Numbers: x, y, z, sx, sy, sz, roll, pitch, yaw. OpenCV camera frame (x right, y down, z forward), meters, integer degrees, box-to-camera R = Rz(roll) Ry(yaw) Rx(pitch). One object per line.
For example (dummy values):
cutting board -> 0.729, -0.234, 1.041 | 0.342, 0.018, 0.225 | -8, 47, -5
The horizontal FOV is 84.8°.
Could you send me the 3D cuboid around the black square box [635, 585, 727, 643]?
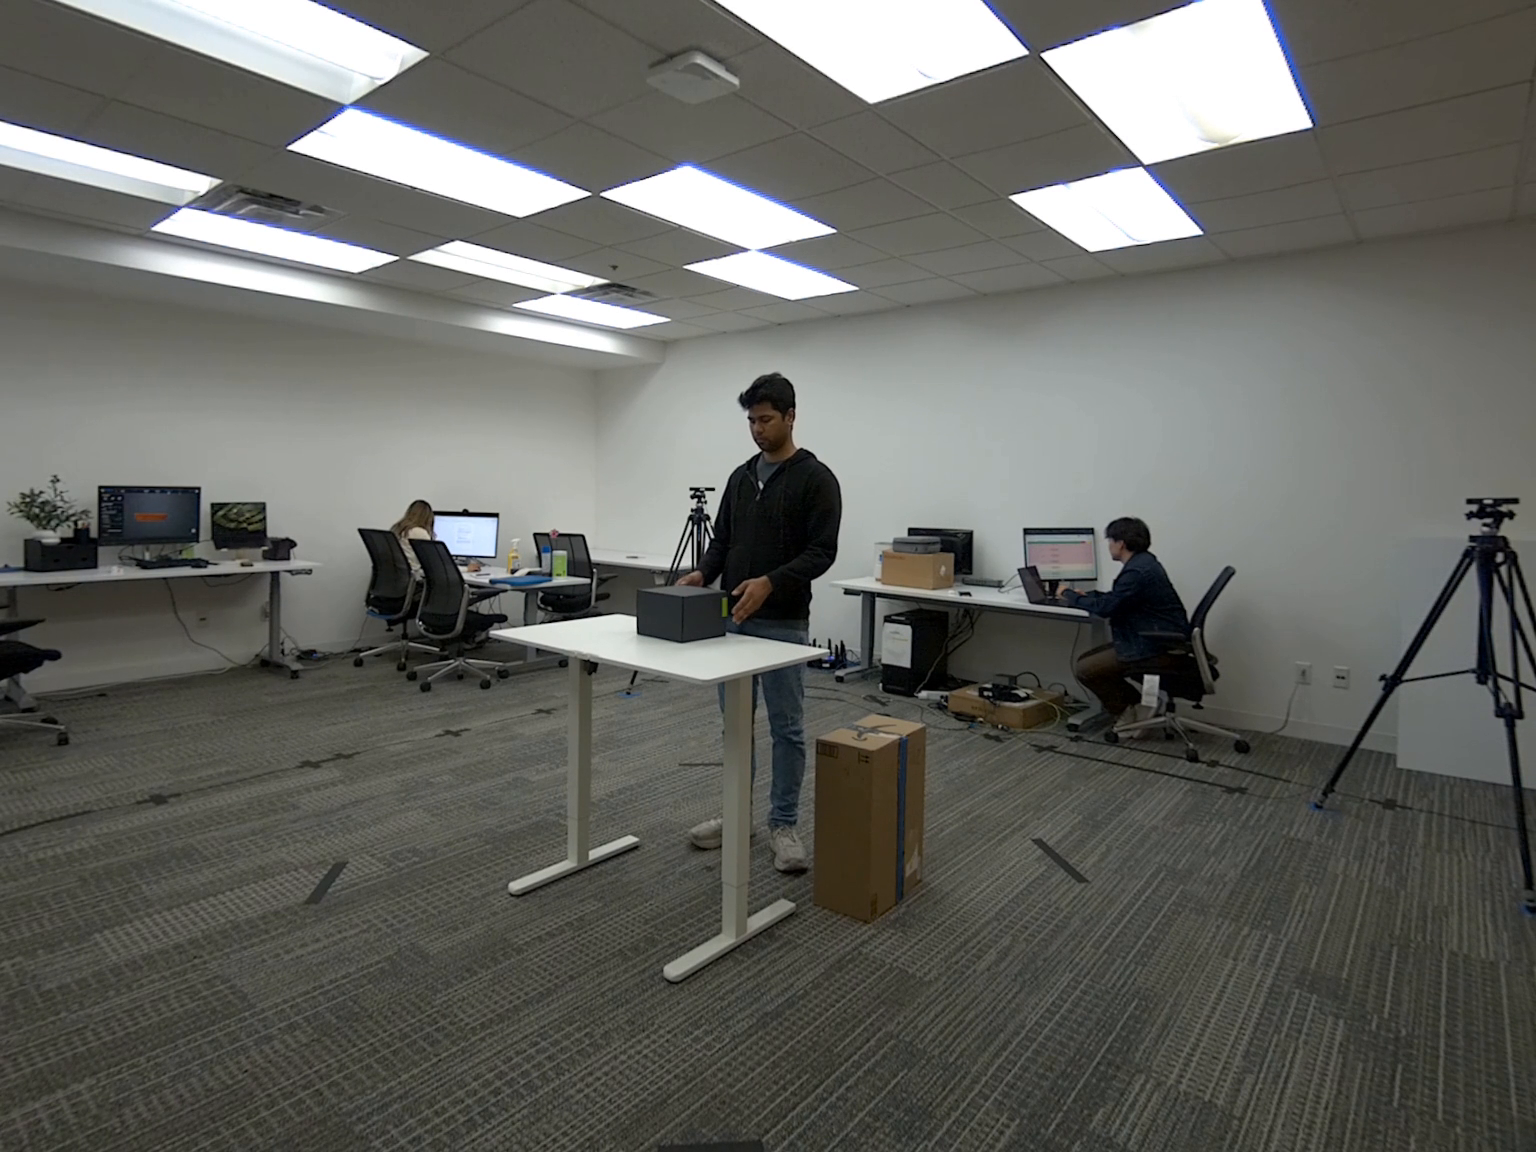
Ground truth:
black square box -> -0.307, 0.124, 2.901 | 0.236, 0.155, 0.210 | 5, 7, 41
